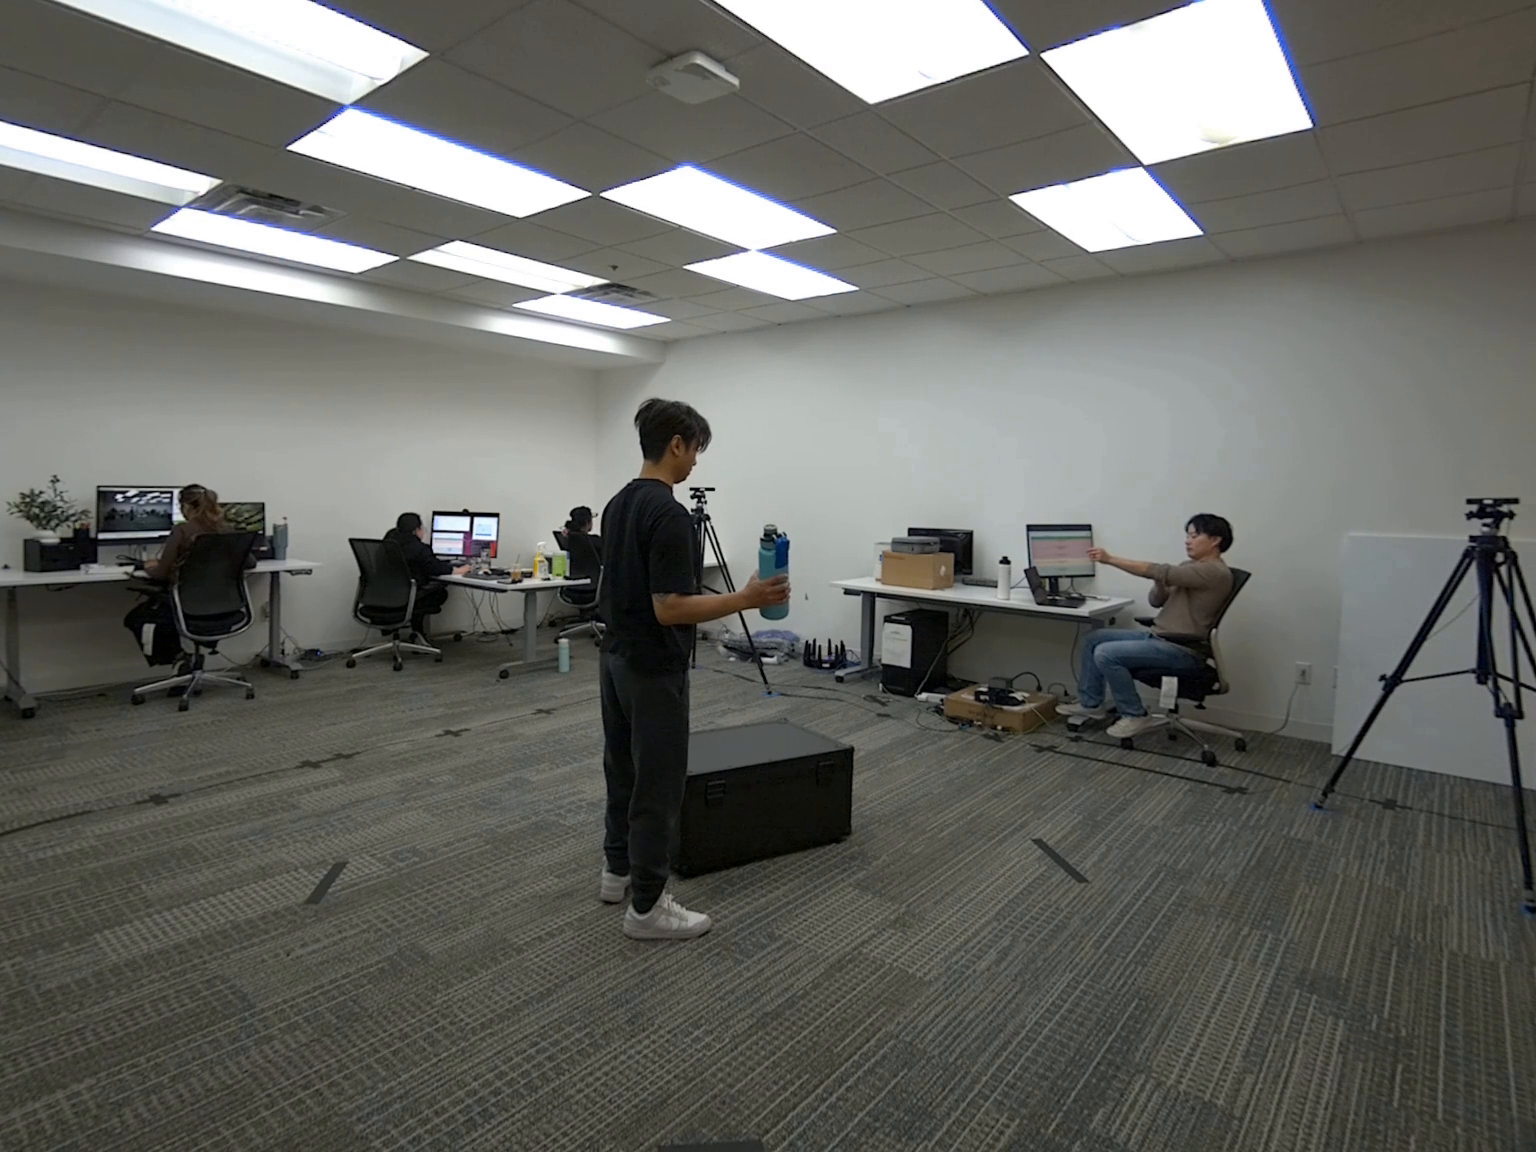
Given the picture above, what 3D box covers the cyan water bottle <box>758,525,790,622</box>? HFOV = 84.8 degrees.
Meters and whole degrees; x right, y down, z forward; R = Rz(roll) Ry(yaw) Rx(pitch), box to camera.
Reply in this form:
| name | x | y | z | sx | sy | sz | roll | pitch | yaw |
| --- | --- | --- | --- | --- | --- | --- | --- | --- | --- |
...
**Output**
| name | x | y | z | sx | sy | sz | roll | pitch | yaw |
| --- | --- | --- | --- | --- | --- | --- | --- | --- | --- |
| cyan water bottle | 0.004 | -0.017 | 2.509 | 0.092 | 0.277 | 0.094 | 0 | 23 | -2 |
